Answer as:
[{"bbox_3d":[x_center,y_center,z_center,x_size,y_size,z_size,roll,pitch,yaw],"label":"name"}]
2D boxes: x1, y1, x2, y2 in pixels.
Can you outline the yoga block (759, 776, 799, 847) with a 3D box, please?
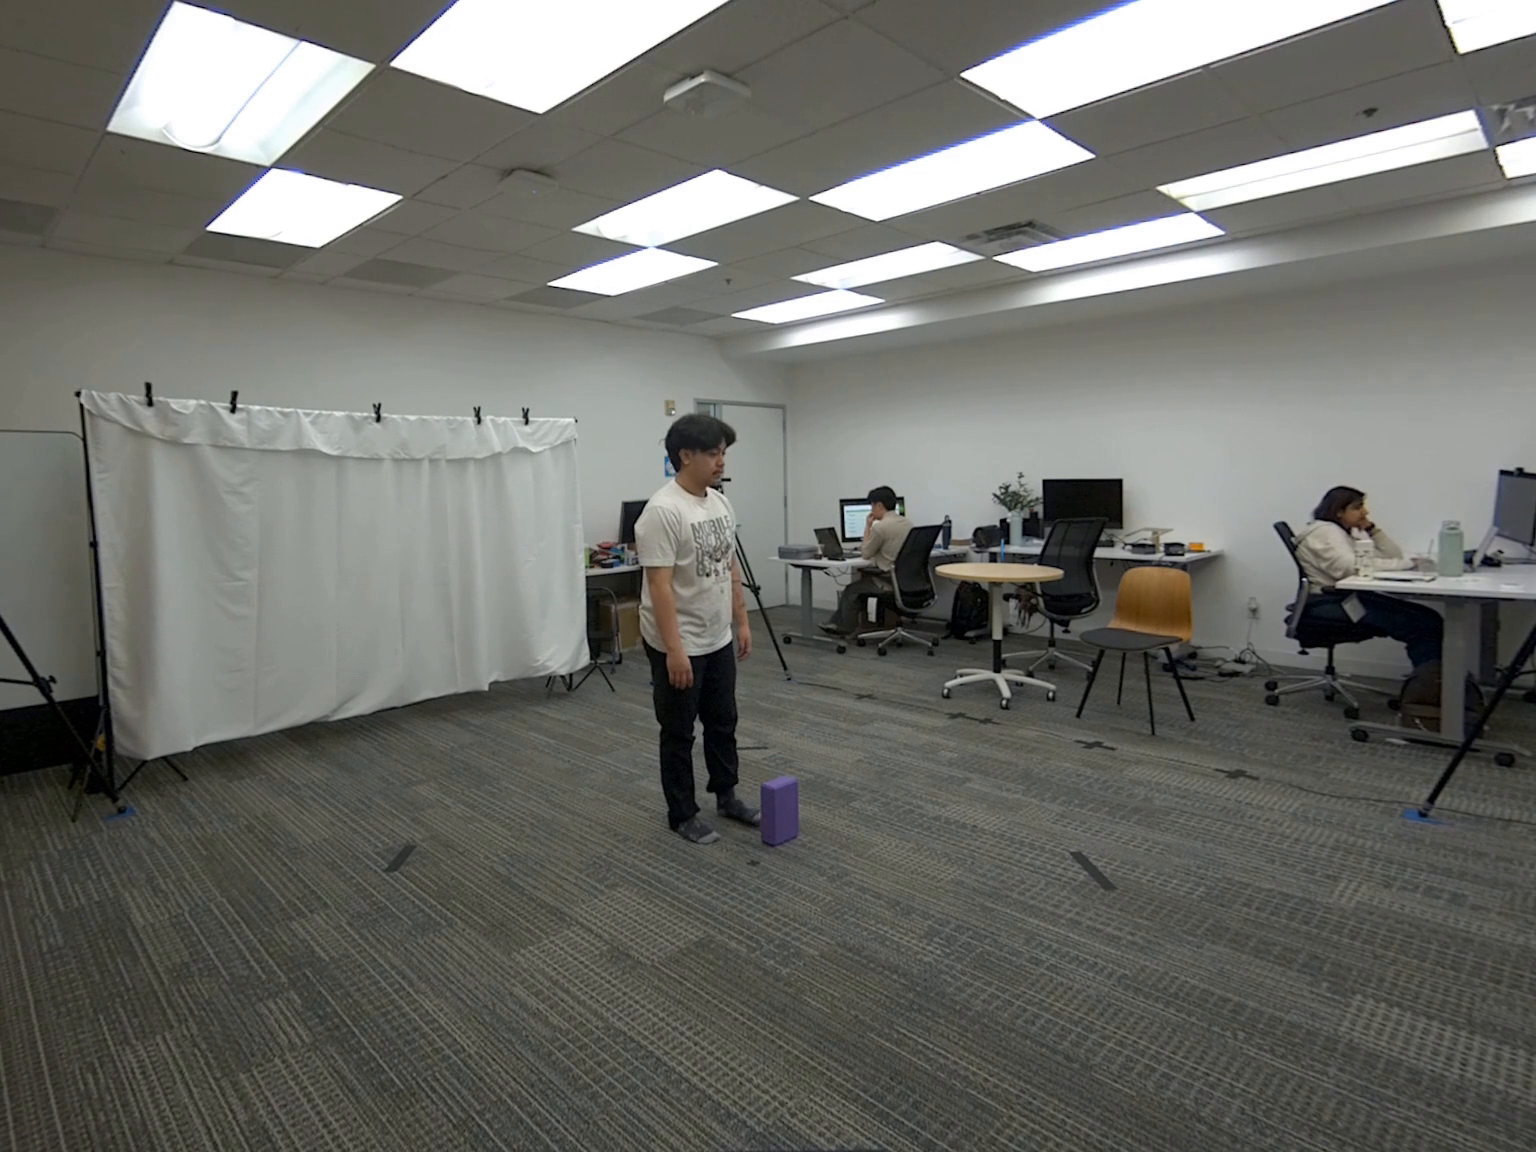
[{"bbox_3d":[0.051,0.905,3.298,0.145,0.229,0.079,-1,4,-41],"label":"yoga block"}]
